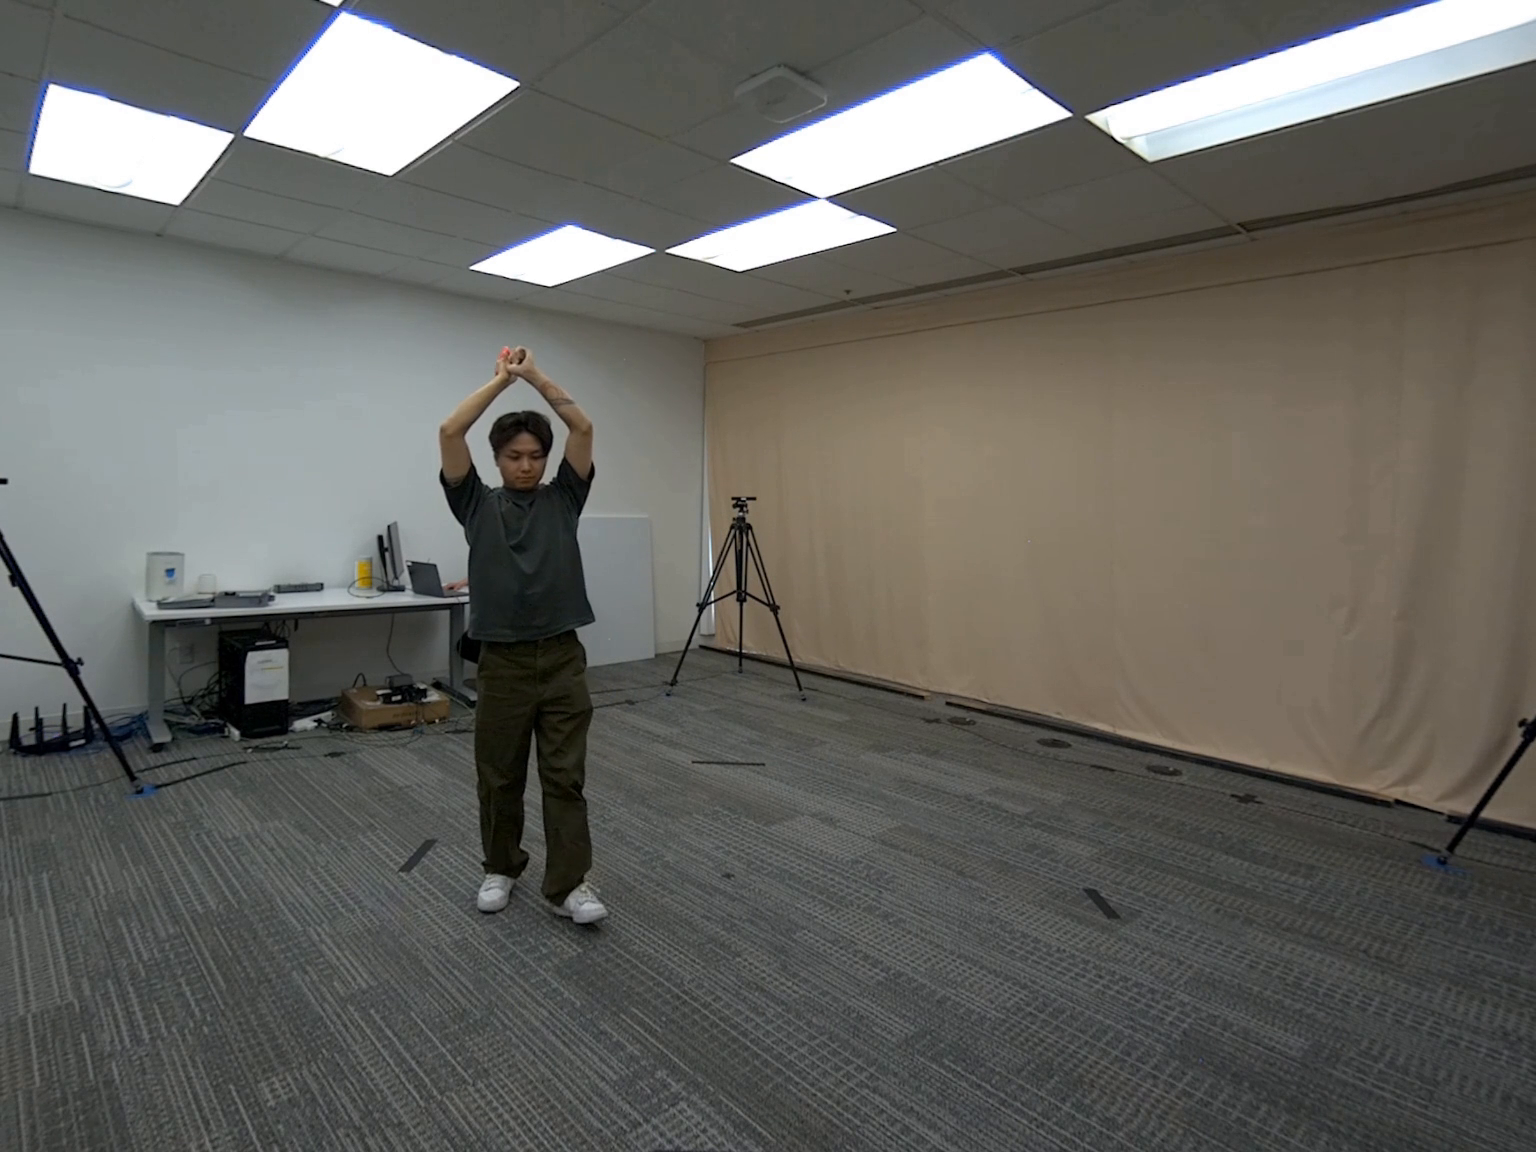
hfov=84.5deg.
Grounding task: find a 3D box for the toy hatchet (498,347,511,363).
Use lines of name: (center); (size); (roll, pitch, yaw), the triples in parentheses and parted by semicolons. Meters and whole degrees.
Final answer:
toy hatchet: (-0.879, -0.739, 2.805); (0.029, 0.132, 0.272); (14, -14, -20)
